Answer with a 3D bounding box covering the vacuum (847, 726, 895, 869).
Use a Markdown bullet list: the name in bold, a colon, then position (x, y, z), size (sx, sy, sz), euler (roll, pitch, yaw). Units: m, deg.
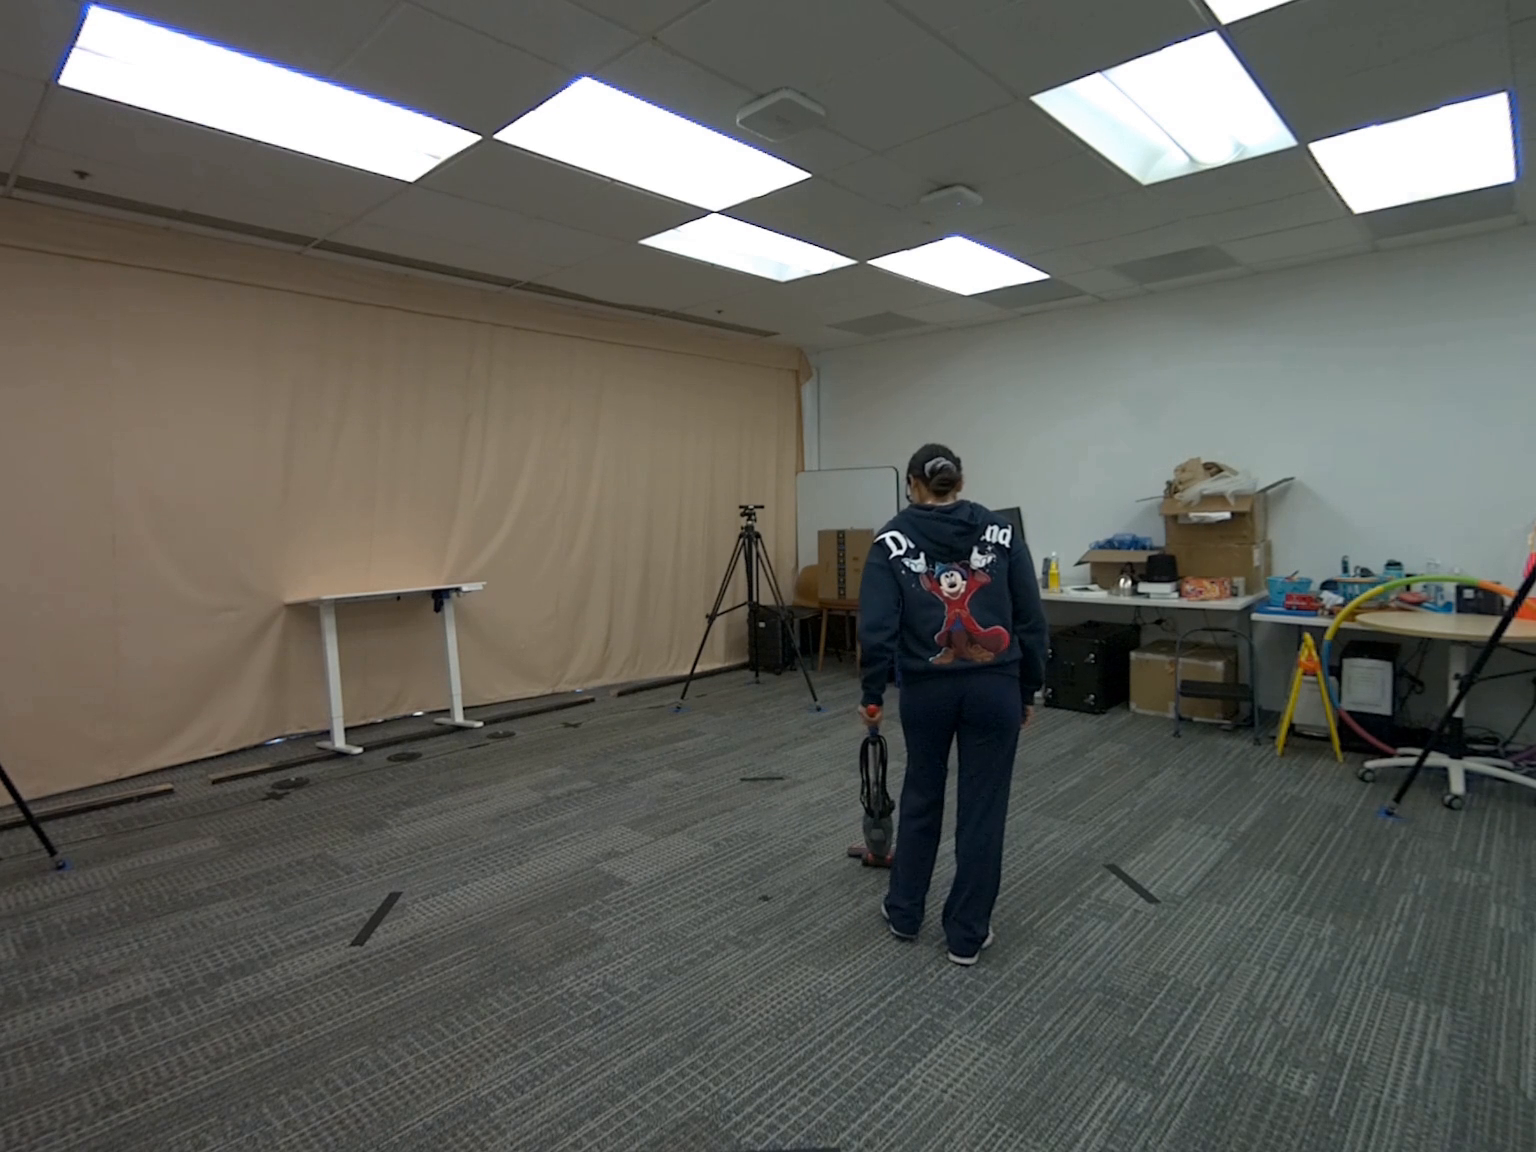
- **vacuum**: position (0.371, 0.748, 2.919), size (0.256, 1.022, 0.145), euler (1, 47, 13)
